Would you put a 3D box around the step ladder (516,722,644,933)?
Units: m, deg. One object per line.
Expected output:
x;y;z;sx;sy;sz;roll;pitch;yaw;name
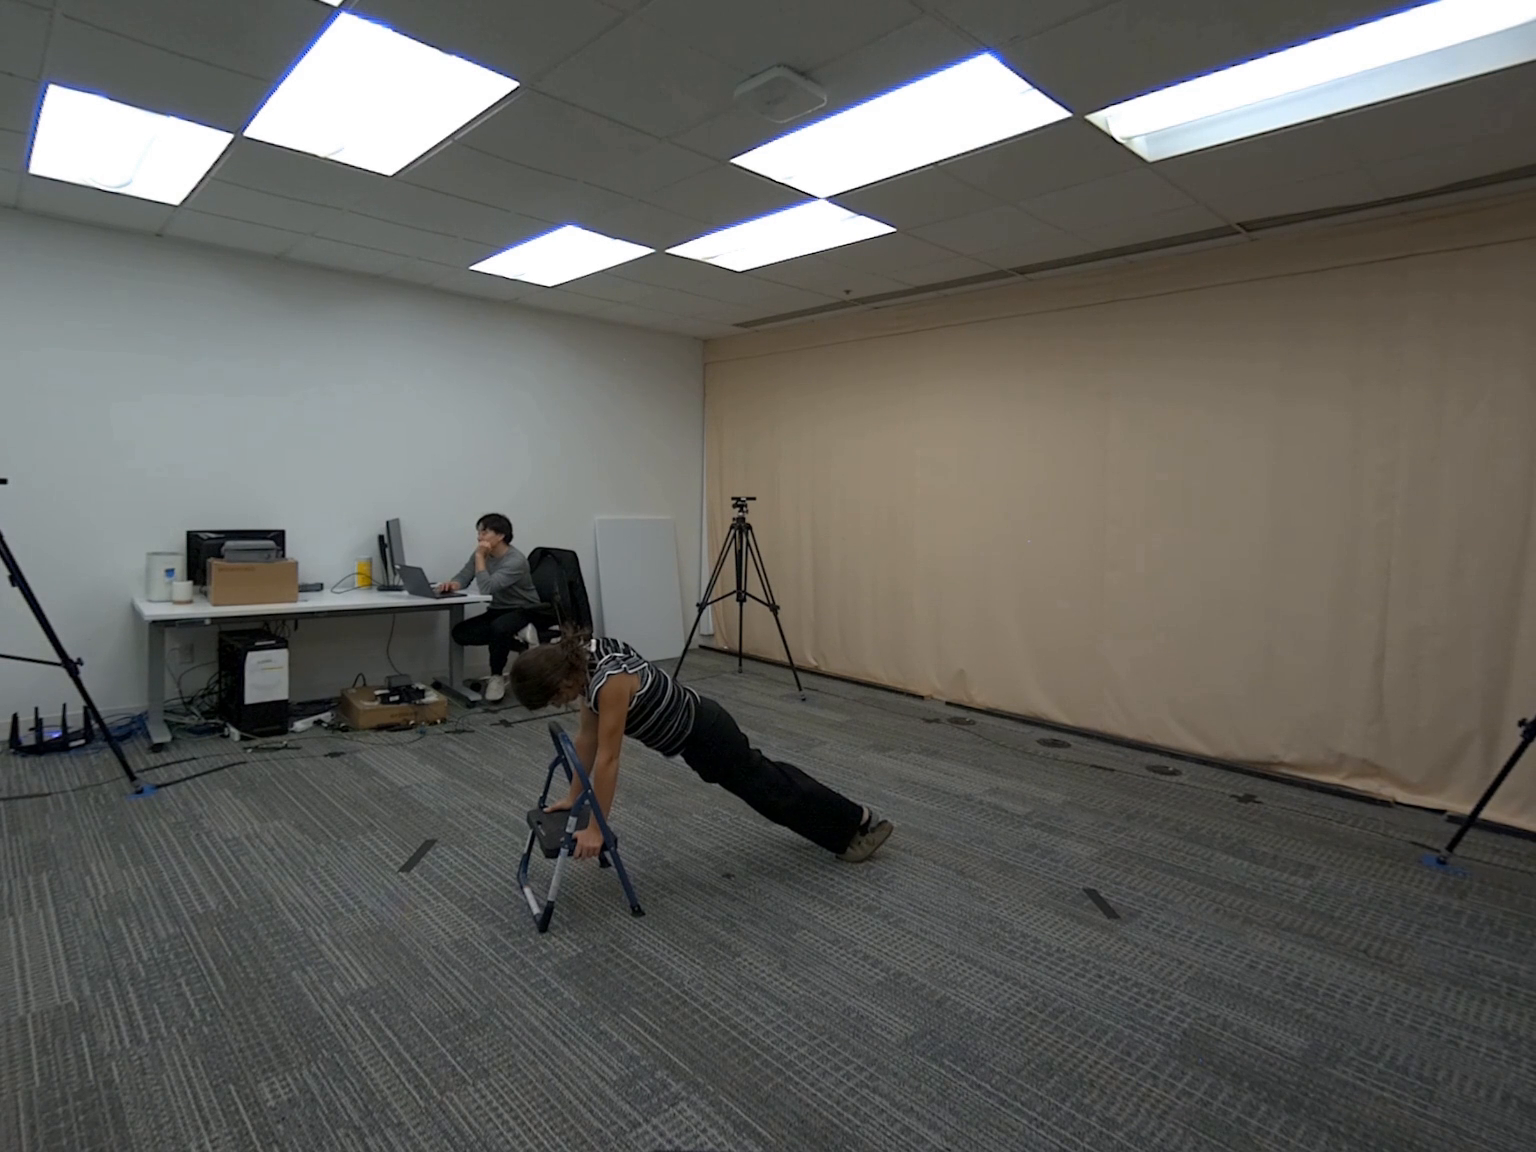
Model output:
-0.662;0.814;2.900;0.343;0.604;0.440;-1;4;-27;step ladder
